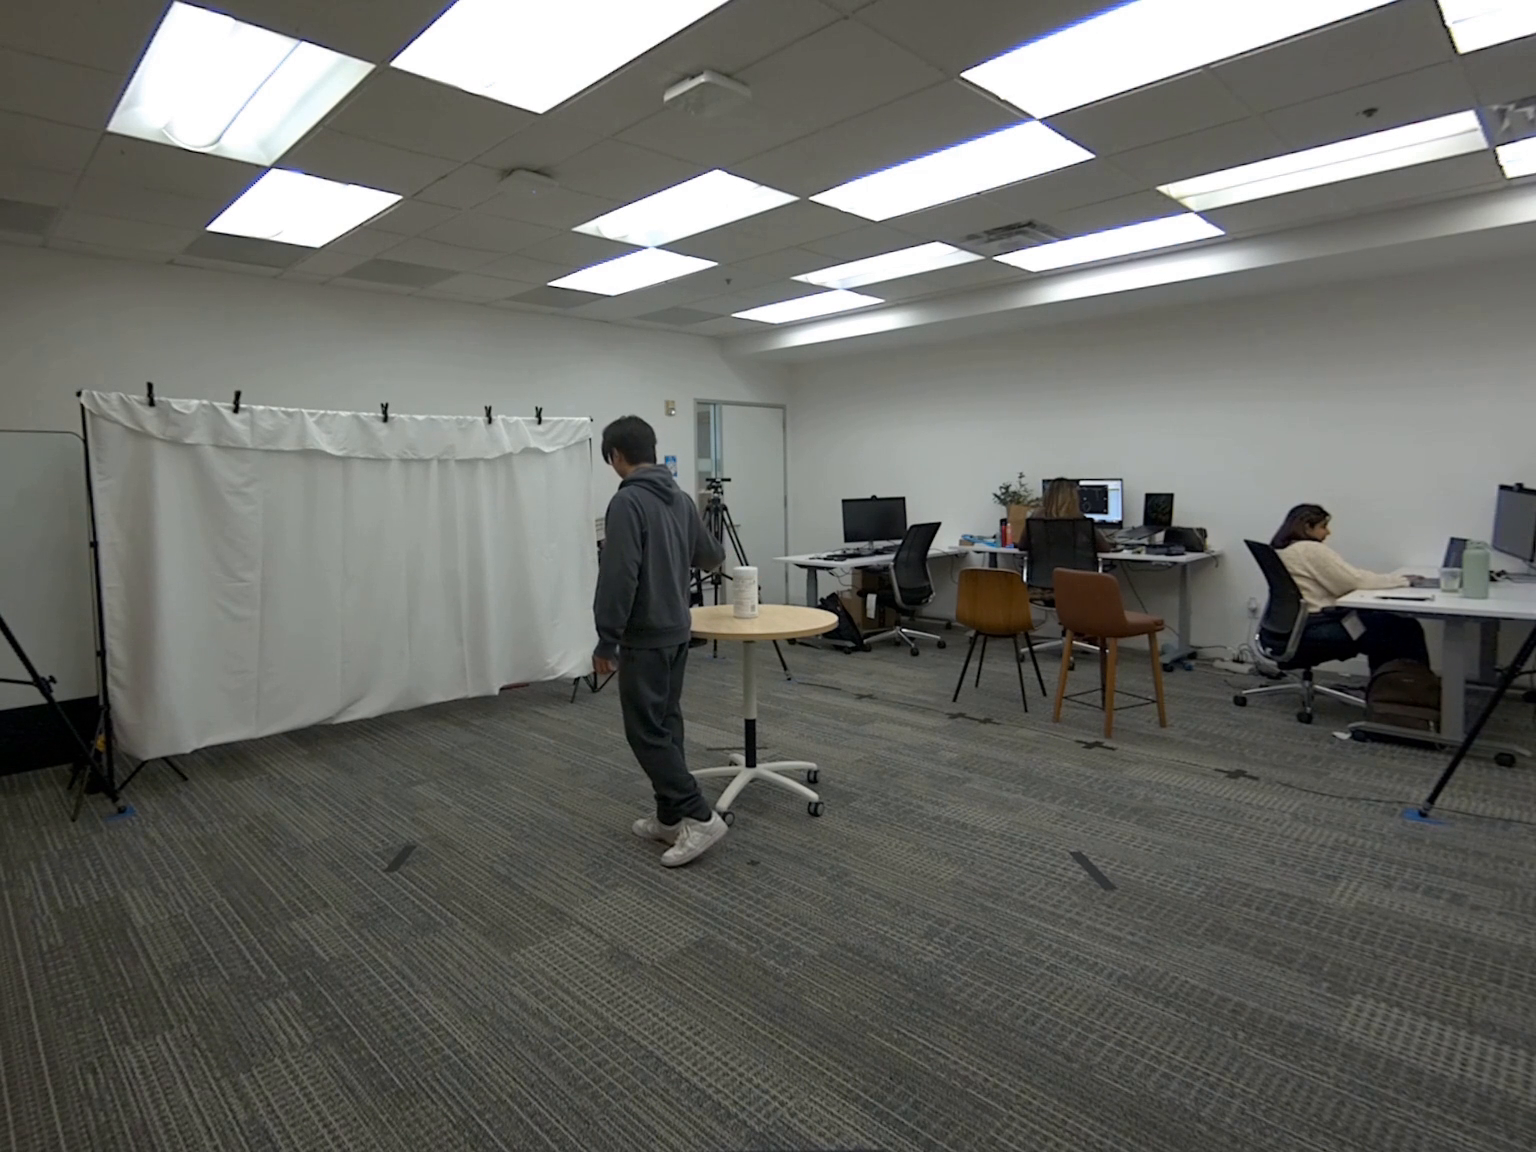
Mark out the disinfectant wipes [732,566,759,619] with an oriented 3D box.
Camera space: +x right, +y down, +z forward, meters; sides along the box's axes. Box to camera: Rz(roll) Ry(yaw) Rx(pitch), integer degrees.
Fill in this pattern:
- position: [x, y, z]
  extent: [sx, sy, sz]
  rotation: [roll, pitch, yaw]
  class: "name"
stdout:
- position: [-0.094, 0.070, 3.711]
  extent: [0.118, 0.216, 0.118]
  rotation: [-1, 6, -2]
  class: "disinfectant wipes"
